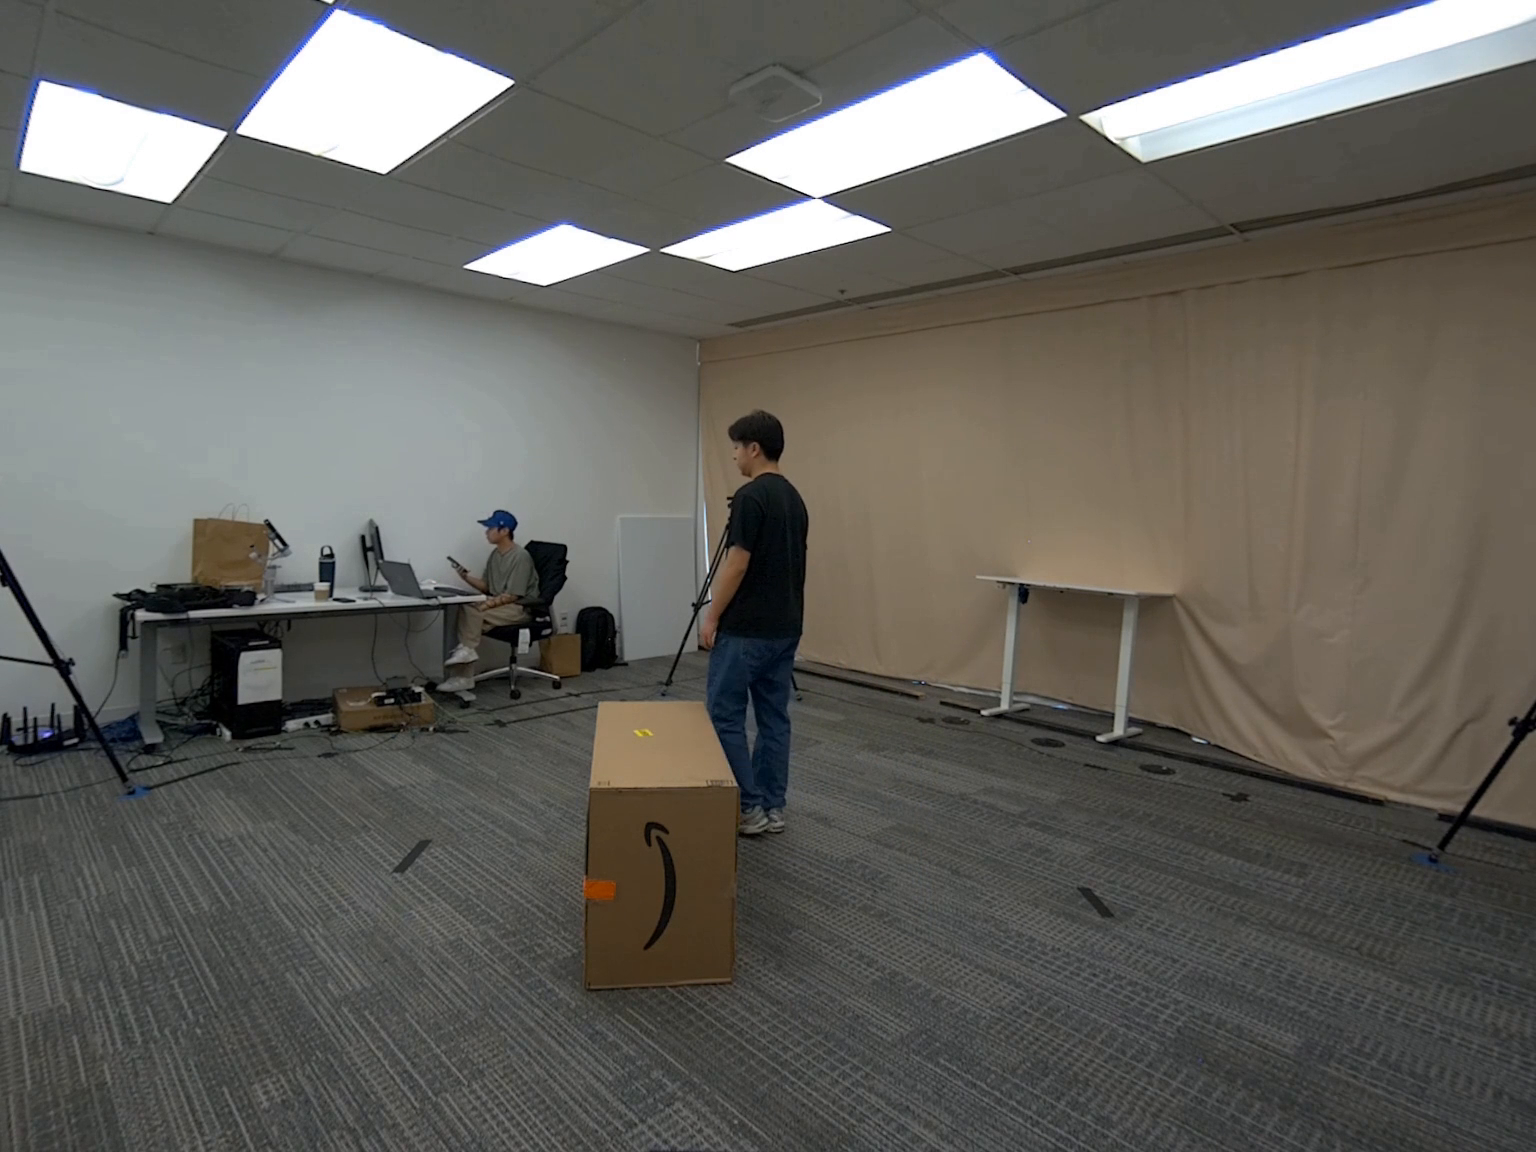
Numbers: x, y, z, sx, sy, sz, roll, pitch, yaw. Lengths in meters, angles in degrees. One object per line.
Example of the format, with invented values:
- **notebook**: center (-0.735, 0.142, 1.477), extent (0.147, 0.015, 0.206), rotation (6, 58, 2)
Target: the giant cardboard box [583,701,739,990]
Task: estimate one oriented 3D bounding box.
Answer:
- **giant cardboard box**: center (-0.397, 0.836, 2.877), extent (0.443, 0.582, 1.037), rotation (0, 4, -10)
